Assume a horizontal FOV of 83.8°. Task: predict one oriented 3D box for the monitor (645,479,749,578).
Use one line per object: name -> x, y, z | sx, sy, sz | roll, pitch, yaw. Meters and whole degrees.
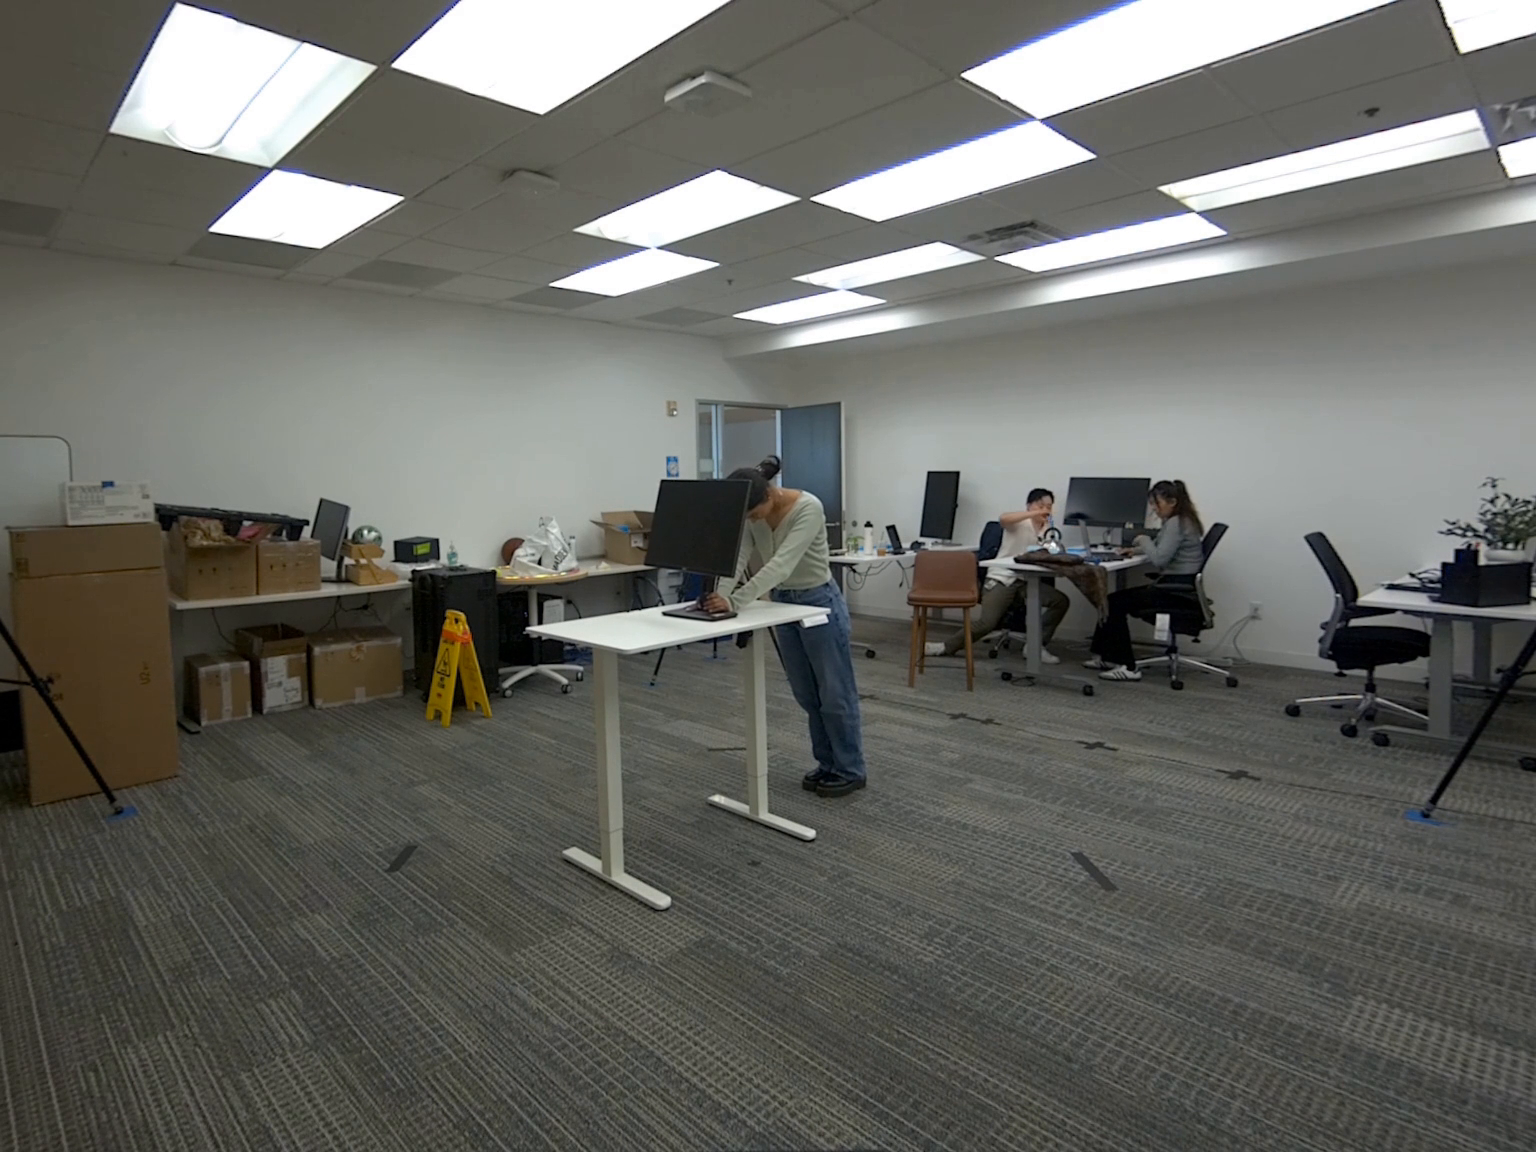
monitor -> -0.250, -0.102, 3.230 | 0.182, 0.521, 0.556 | -2, 6, -44
